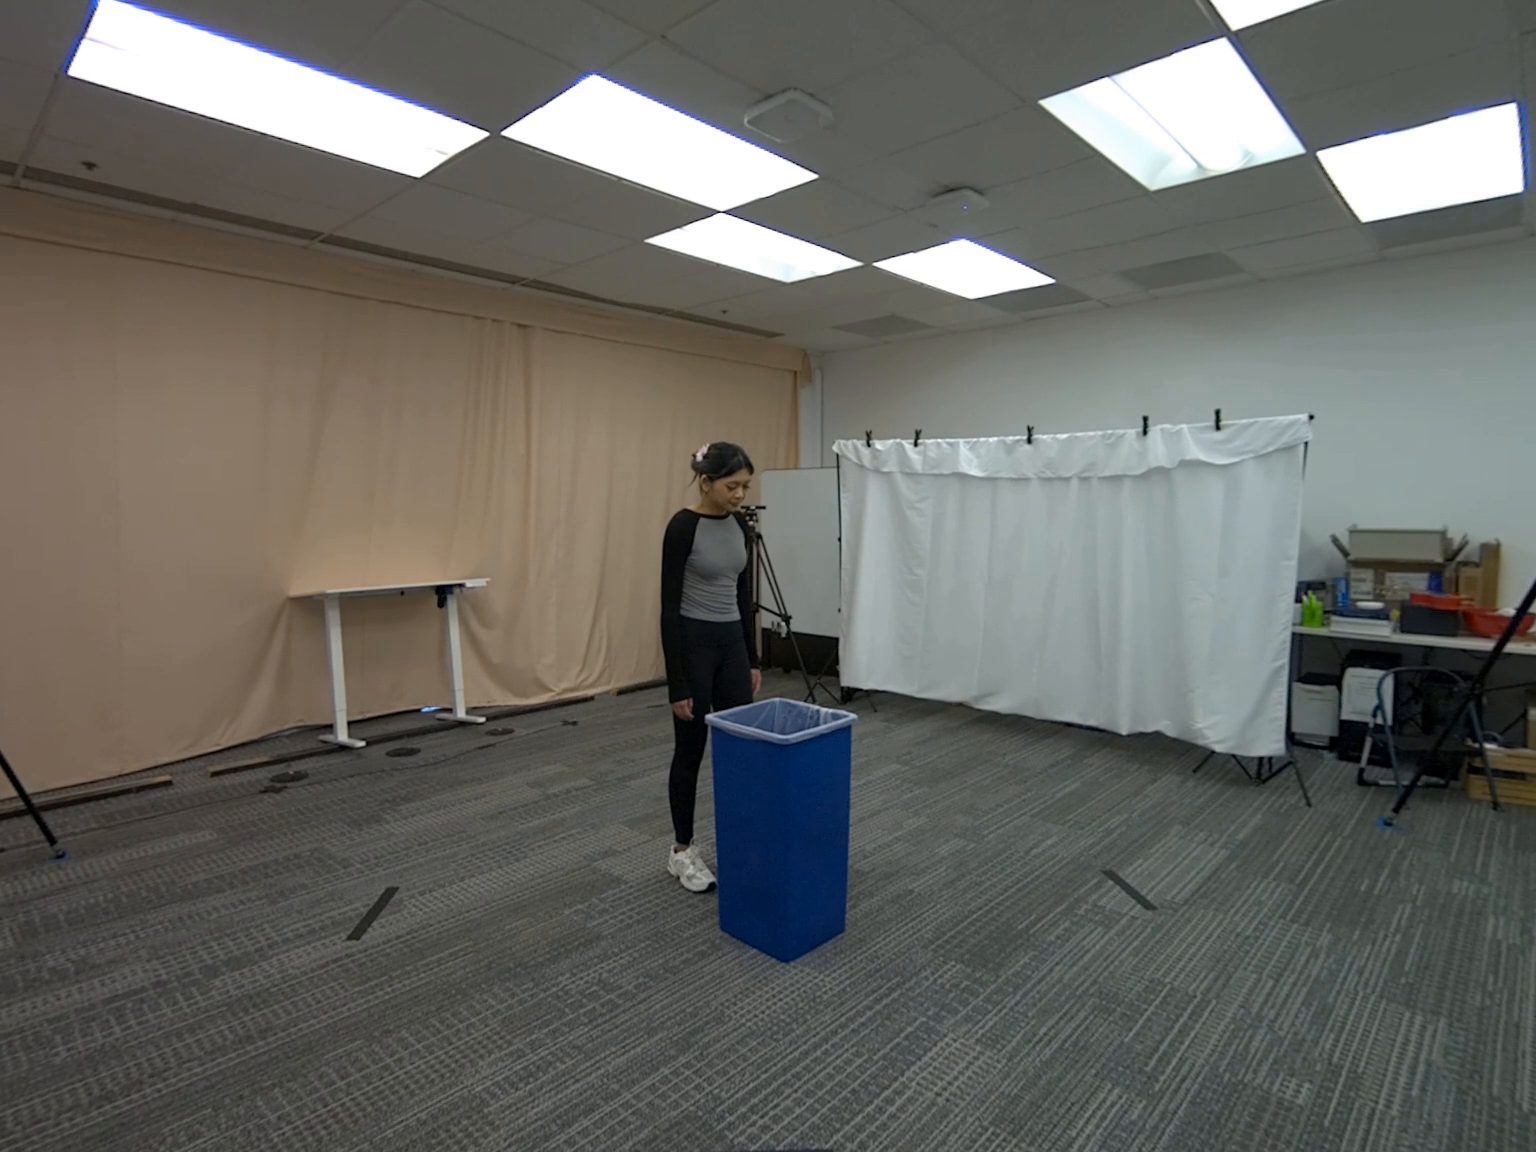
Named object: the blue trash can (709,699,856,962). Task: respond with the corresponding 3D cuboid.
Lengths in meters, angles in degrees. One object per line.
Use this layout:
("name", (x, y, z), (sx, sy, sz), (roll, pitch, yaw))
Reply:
("blue trash can", (0.050, 0.806, 2.737), (0.391, 0.712, 0.362), (3, 4, 44))
